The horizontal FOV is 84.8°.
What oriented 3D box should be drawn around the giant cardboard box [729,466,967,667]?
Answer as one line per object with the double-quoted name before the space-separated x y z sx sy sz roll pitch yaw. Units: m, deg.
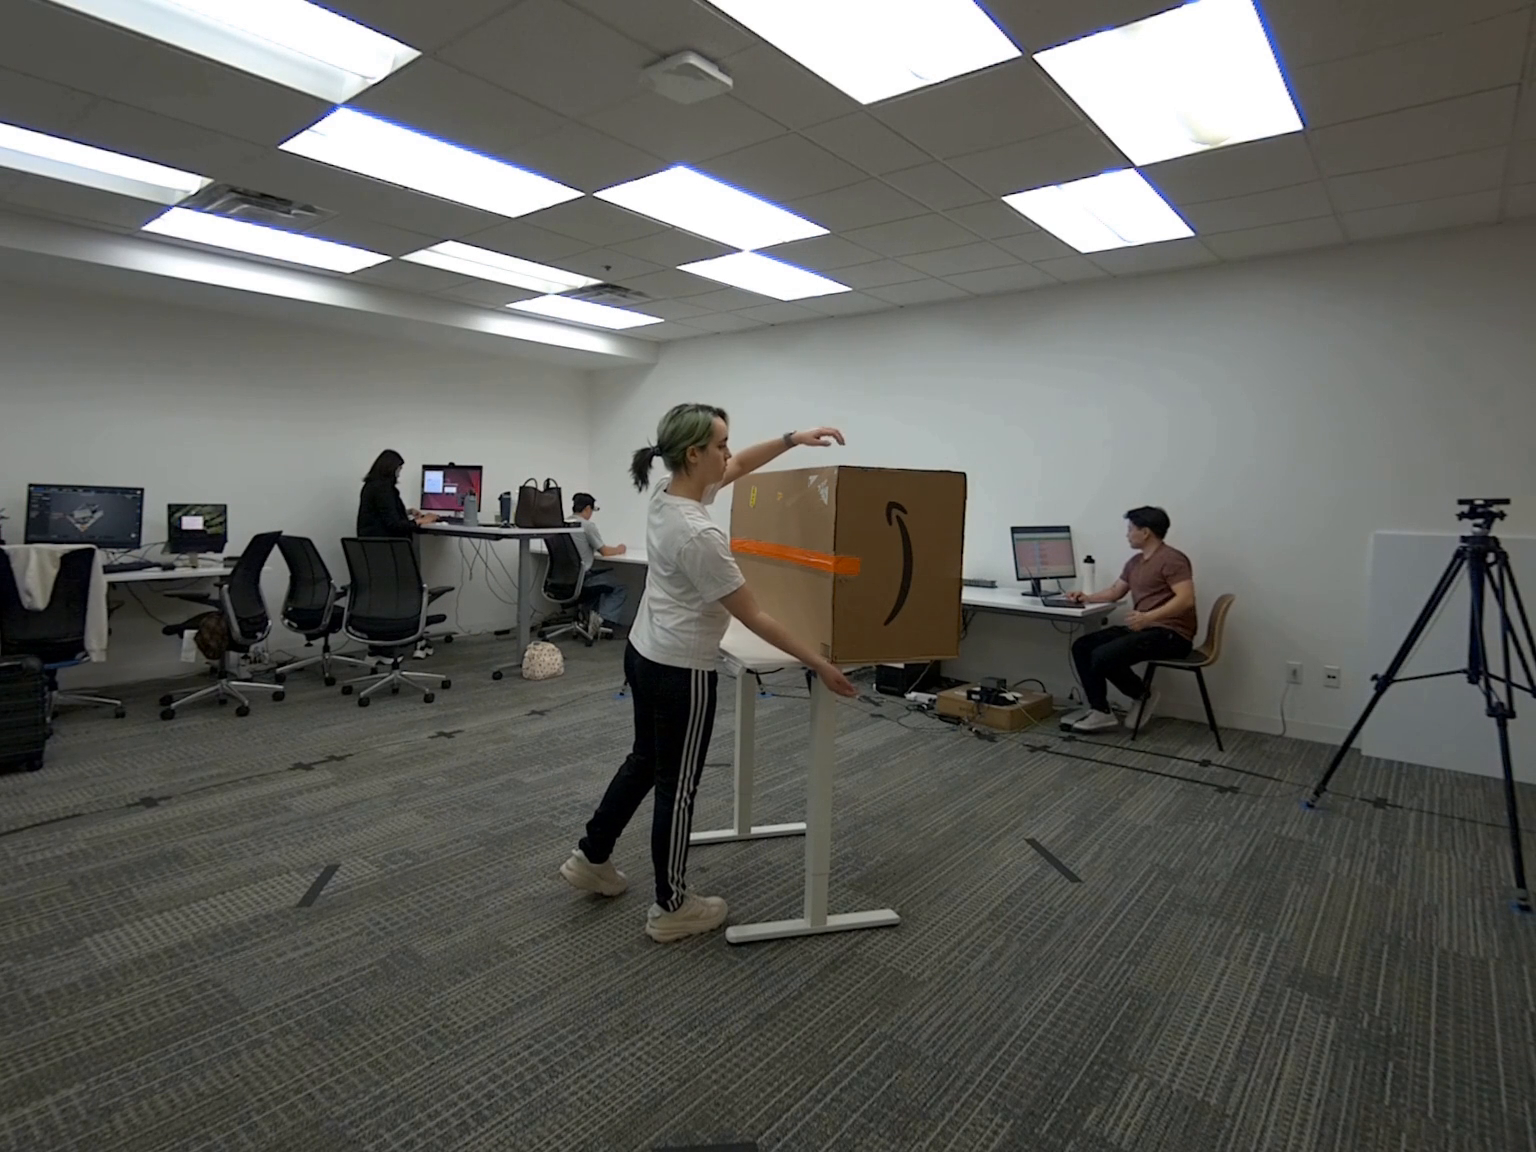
"giant cardboard box" 0.206 -0.083 3.013 0.438 0.582 1.050 1 4 -20
